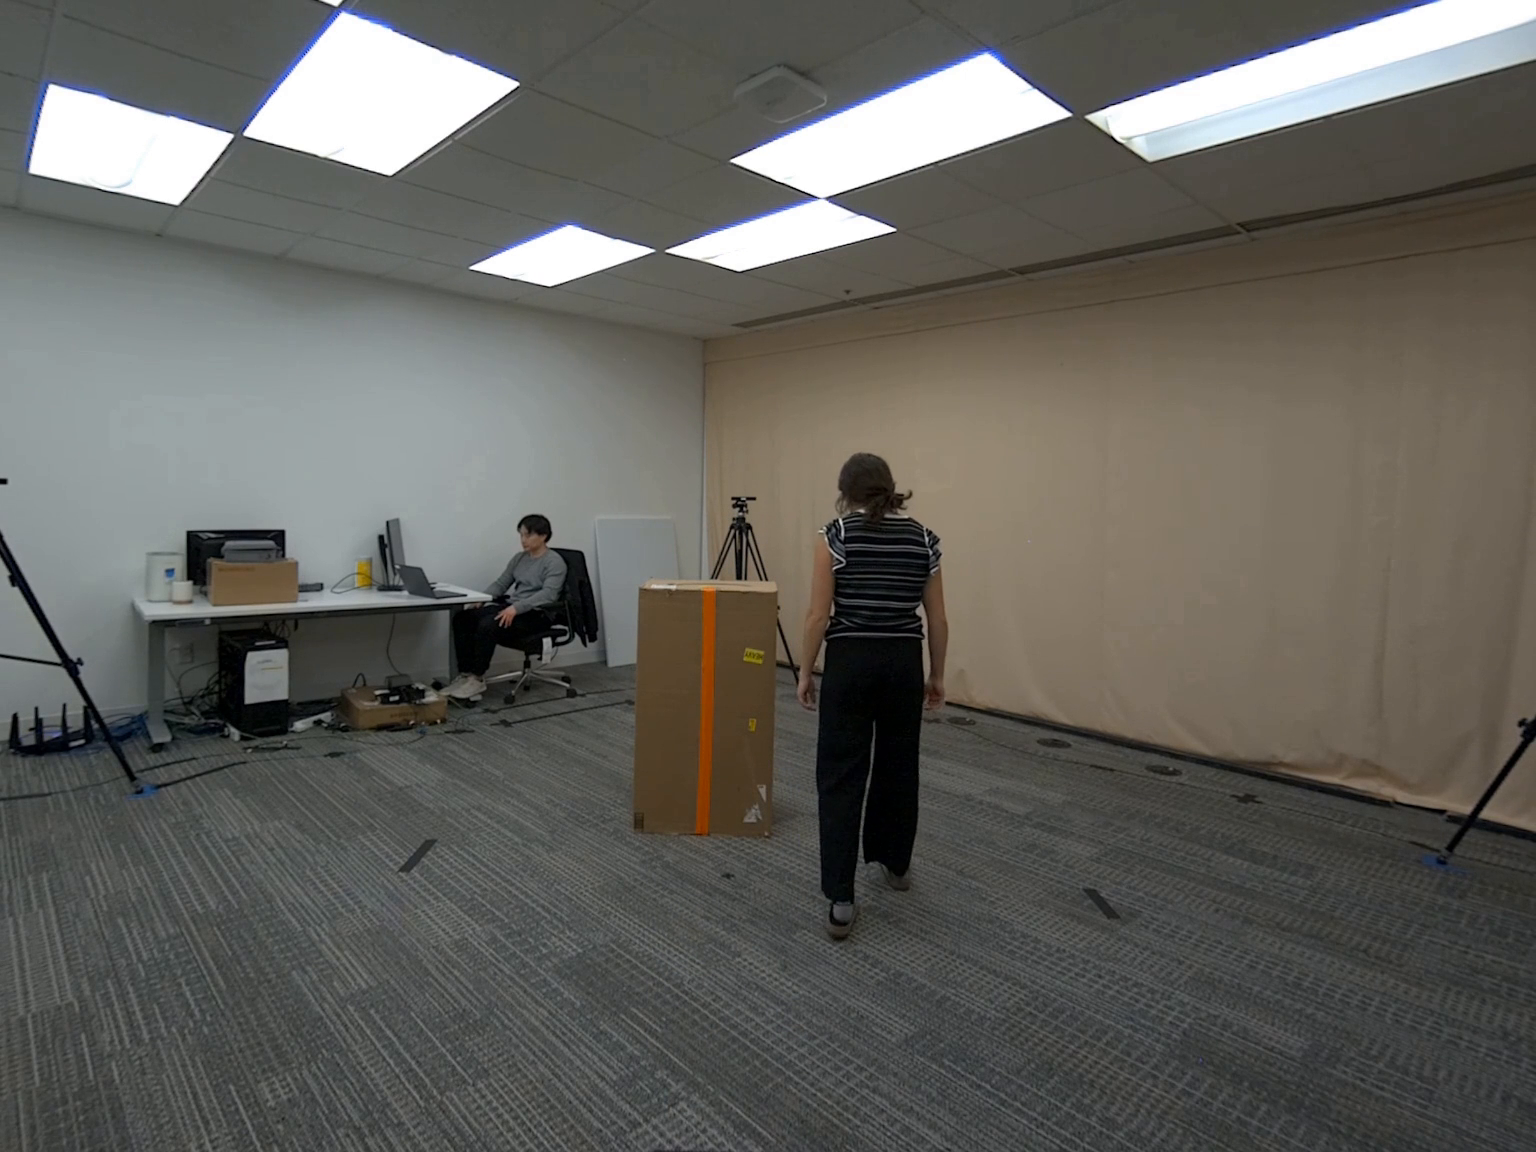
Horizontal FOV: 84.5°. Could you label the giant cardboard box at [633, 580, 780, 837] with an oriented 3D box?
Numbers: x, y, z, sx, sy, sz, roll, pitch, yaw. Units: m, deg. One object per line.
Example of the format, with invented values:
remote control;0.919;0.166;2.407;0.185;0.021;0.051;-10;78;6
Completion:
giant cardboard box;-0.269;0.545;3.663;0.578;1.023;0.426;2;3;1
